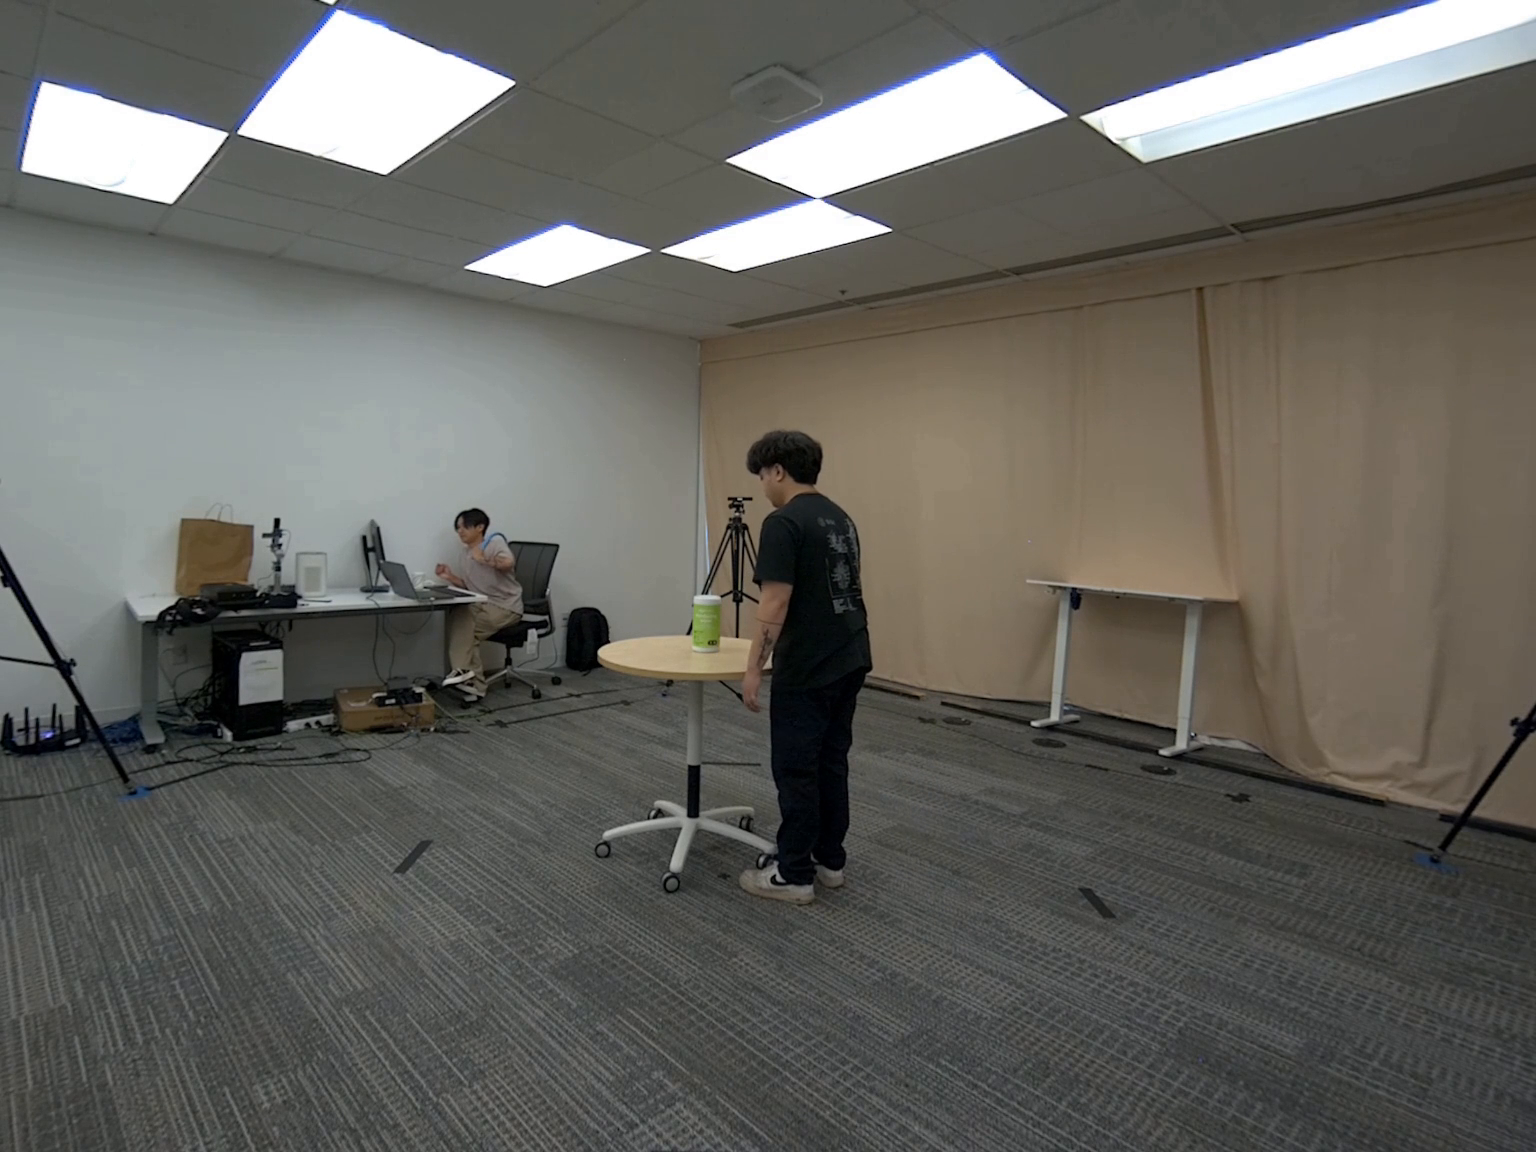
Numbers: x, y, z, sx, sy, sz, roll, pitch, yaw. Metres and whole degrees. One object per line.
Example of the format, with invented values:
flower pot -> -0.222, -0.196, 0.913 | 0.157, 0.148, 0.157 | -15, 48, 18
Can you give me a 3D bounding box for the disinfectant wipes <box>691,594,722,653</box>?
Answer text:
disinfectant wipes -> -0.249, 0.184, 3.315 | 0.118, 0.217, 0.118 | 1, 4, -1
